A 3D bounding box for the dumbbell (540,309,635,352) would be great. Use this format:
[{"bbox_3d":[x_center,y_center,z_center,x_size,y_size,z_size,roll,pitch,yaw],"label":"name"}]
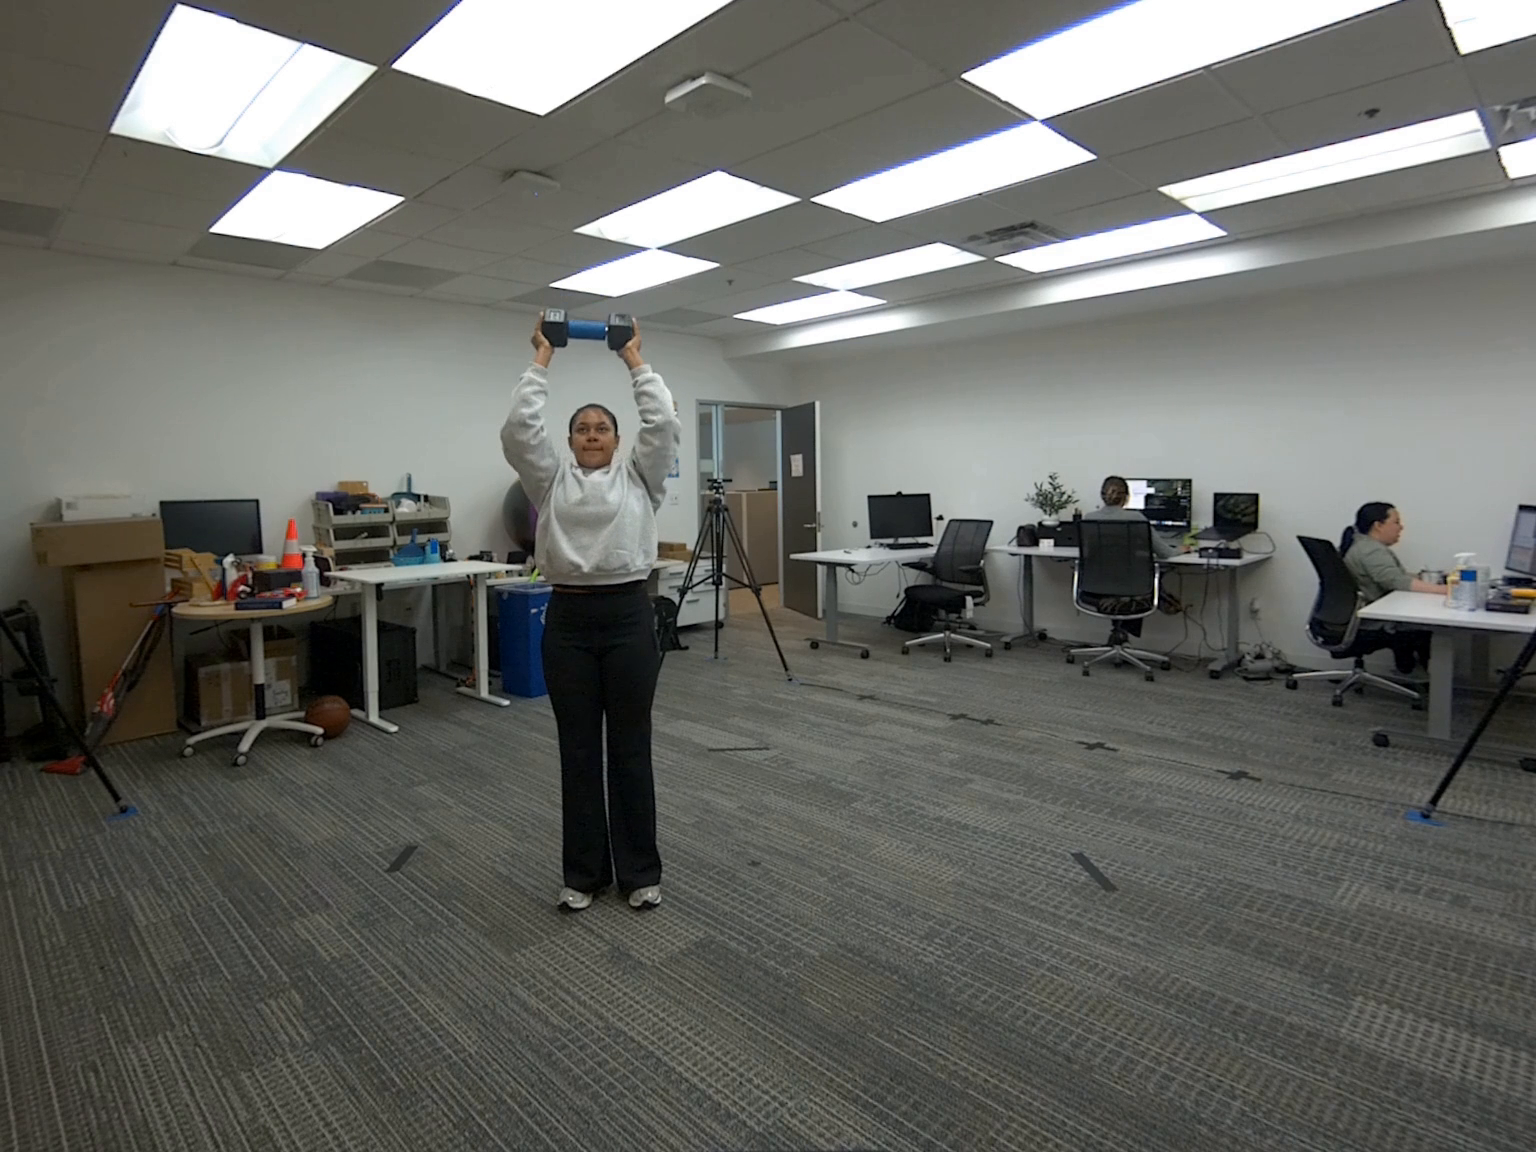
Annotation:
[{"bbox_3d":[-0.591,-0.811,2.817,0.292,0.120,0.111,2,25,-4],"label":"dumbbell"}]
